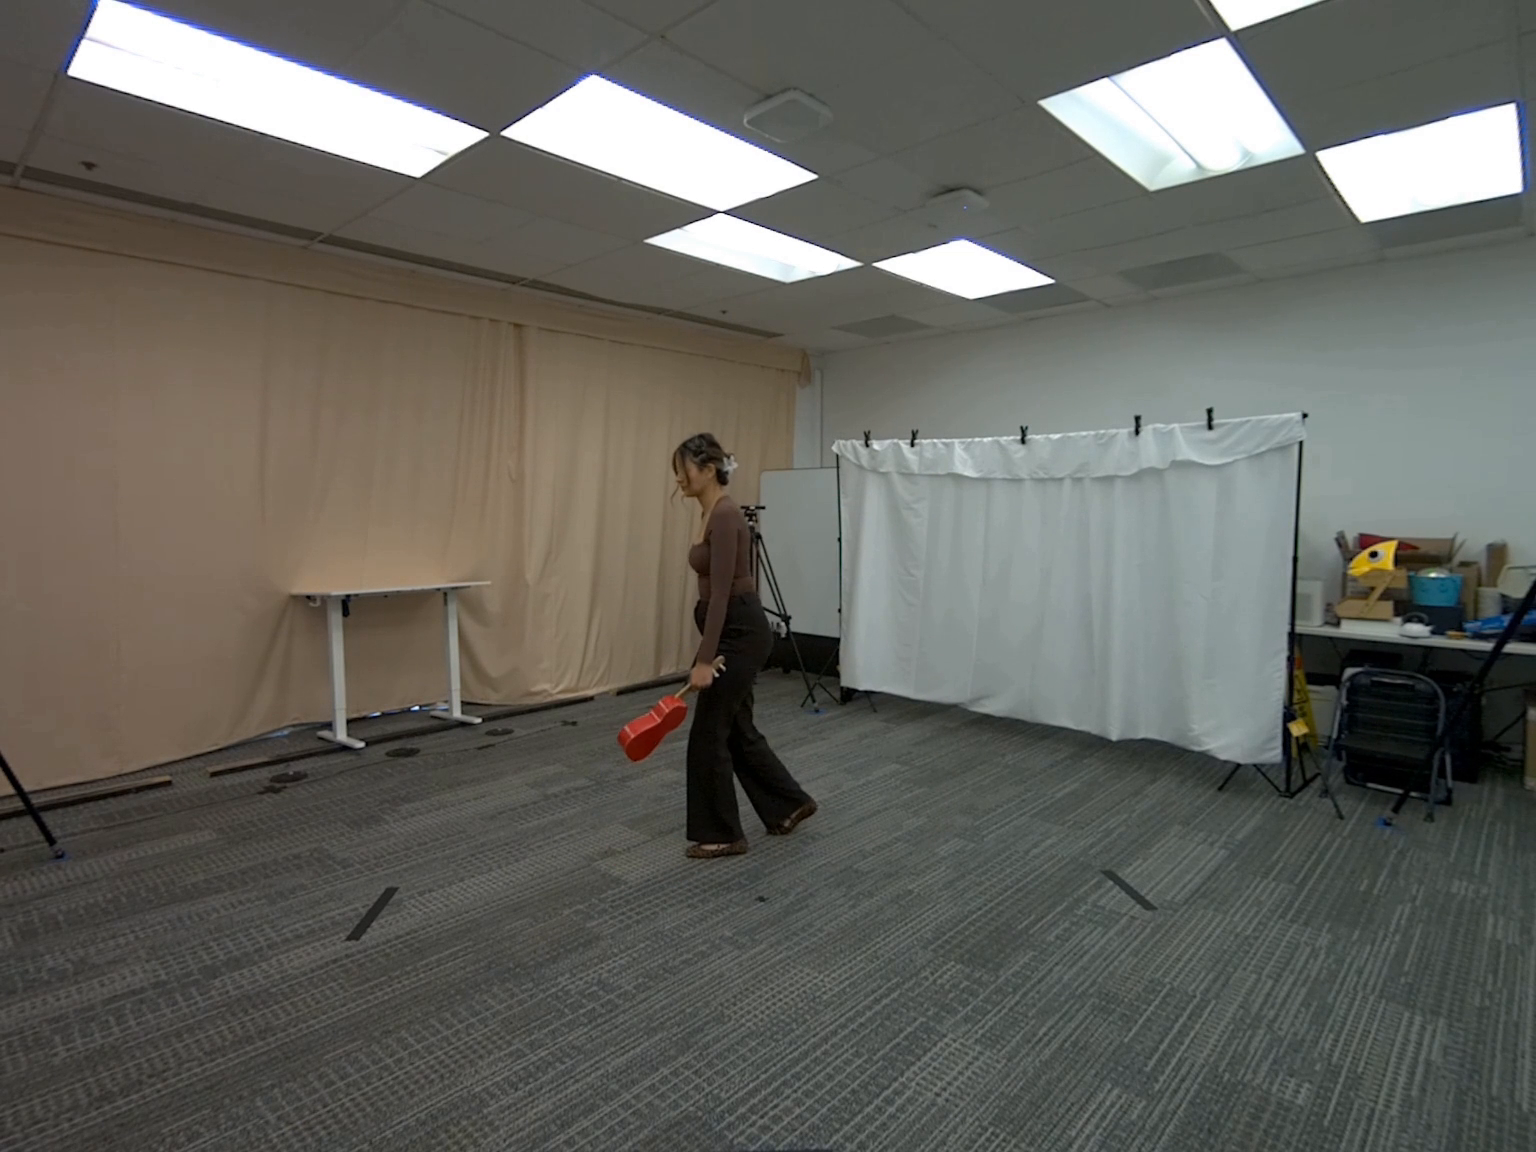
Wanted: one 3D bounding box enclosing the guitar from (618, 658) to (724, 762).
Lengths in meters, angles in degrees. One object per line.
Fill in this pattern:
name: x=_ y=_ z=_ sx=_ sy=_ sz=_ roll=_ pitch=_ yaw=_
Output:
guitar: x=-0.347 y=0.470 z=3.065 sx=0.073 sy=0.496 sz=0.187 roll=43 pitch=-7 yaw=29
